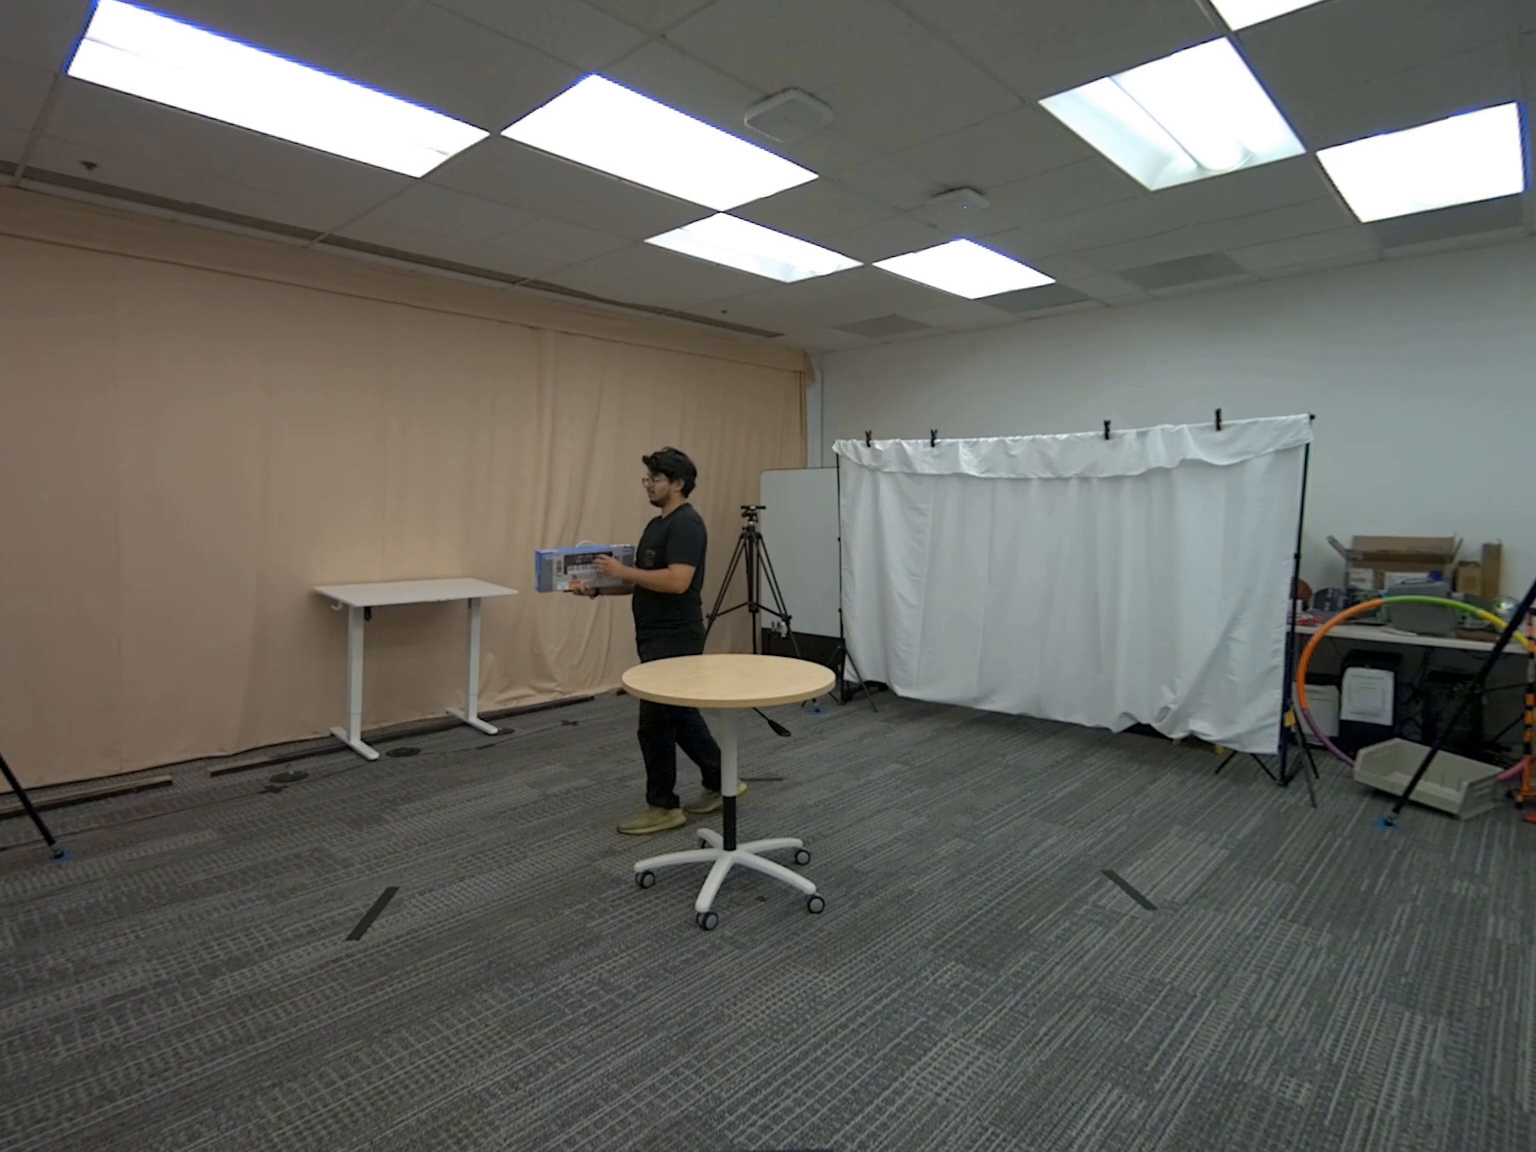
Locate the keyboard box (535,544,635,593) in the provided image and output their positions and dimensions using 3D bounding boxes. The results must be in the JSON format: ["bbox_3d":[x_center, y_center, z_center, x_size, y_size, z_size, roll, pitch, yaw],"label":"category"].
[{"bbox_3d":[-0.780,-0.032,3.613,0.425,0.175,0.061,-6,15,-33],"label":"keyboard box"}]
